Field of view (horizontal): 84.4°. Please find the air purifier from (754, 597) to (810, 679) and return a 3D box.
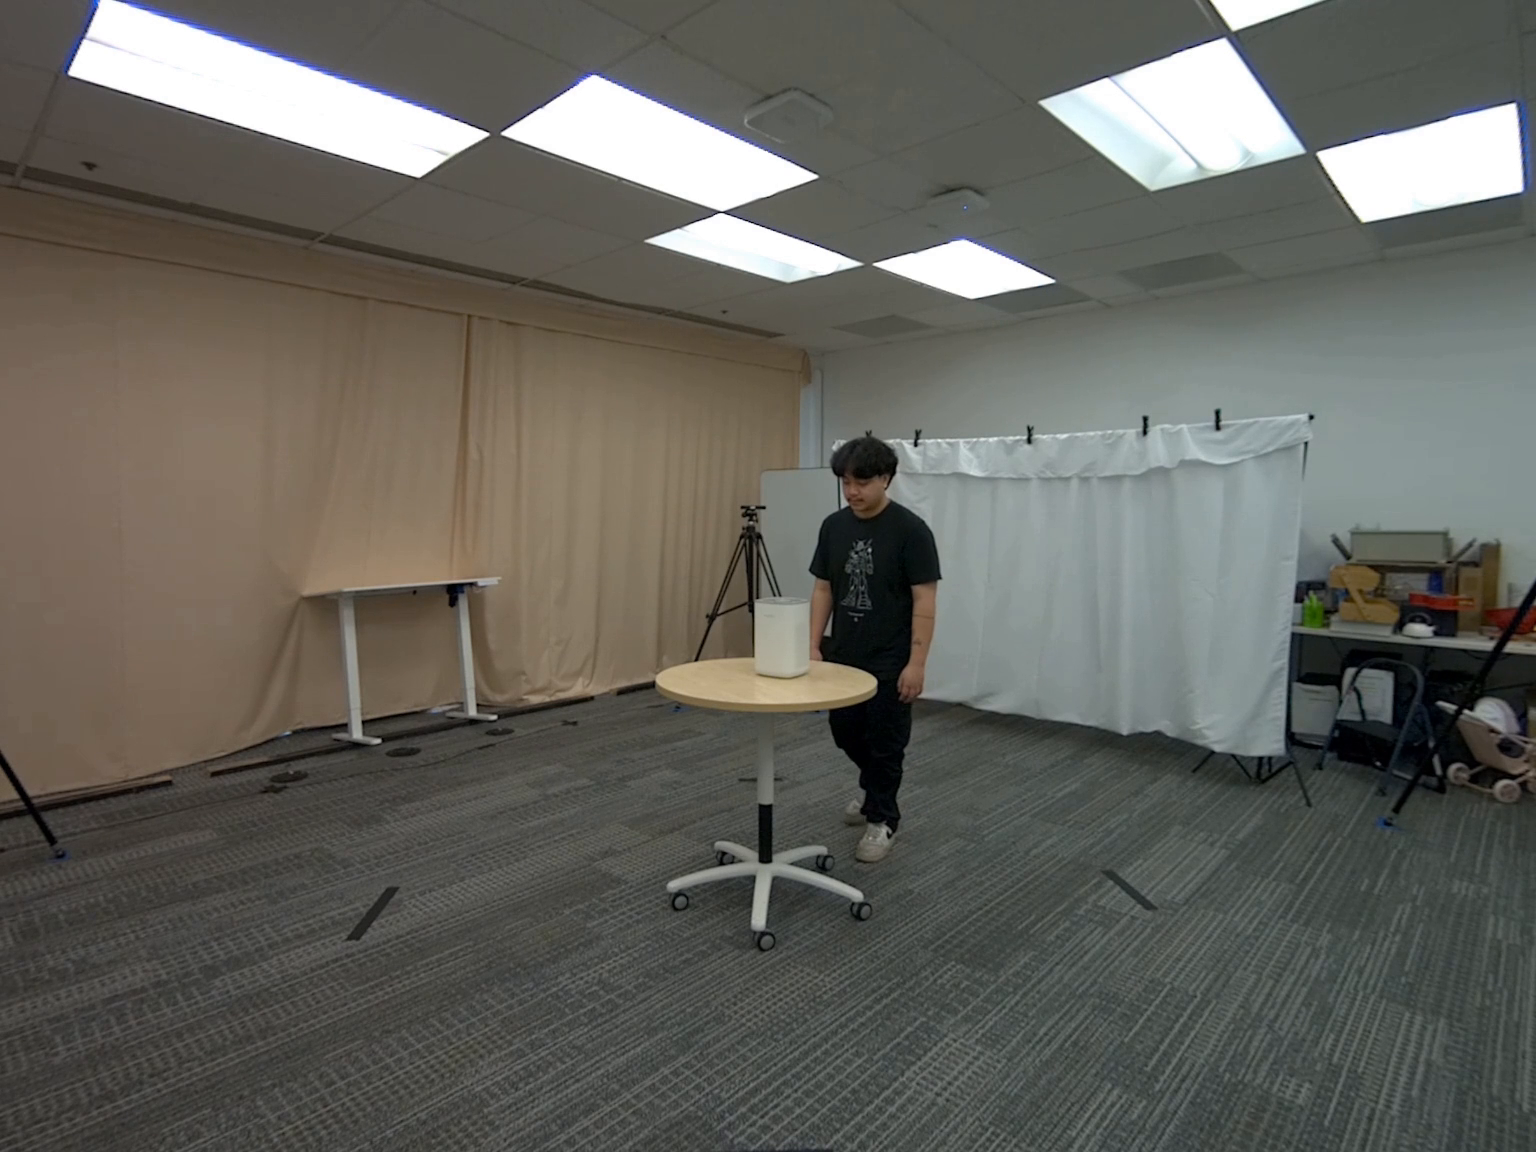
[{"bbox_3d":[0.054,0.214,2.989,0.176,0.265,0.167,2,4,31],"label":"air purifier"}]
